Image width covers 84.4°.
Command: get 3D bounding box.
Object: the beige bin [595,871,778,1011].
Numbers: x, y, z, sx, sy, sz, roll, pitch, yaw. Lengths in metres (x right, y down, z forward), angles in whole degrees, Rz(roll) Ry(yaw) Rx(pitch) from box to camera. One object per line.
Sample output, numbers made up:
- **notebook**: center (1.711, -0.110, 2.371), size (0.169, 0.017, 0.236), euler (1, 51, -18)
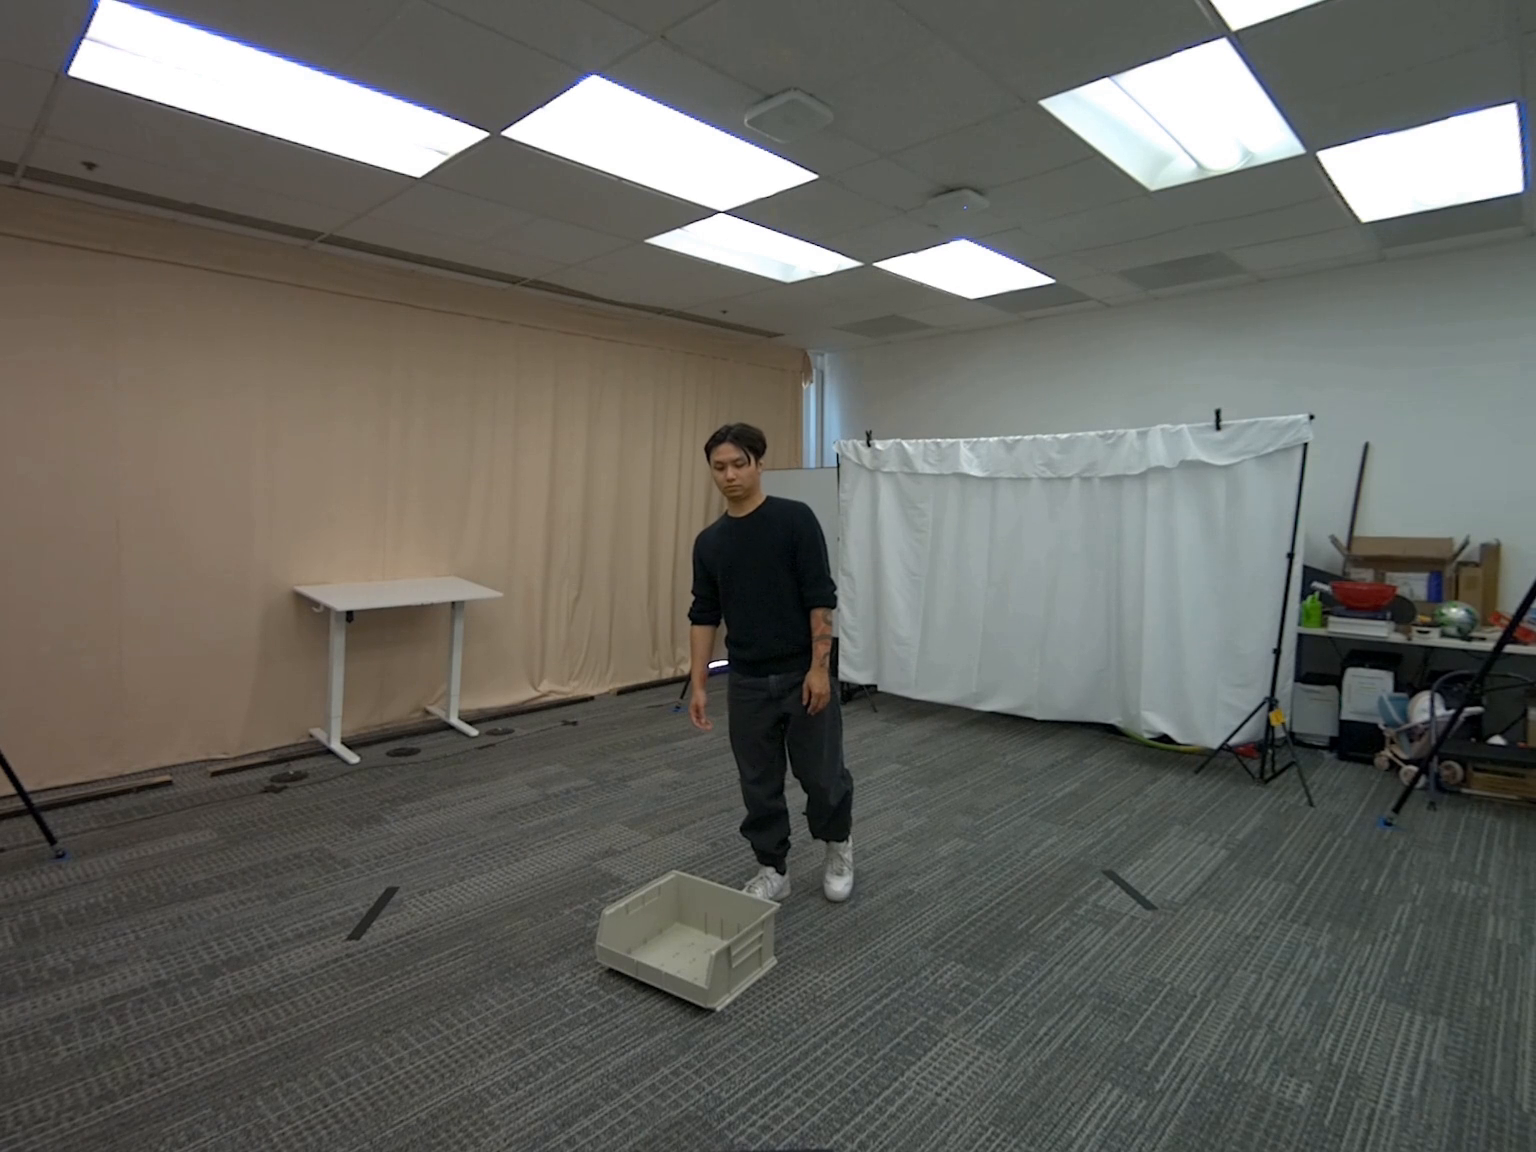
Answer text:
- **beige bin**: center (-0.237, 1.094, 2.538), size (0.435, 0.188, 0.366), euler (3, 4, 34)
